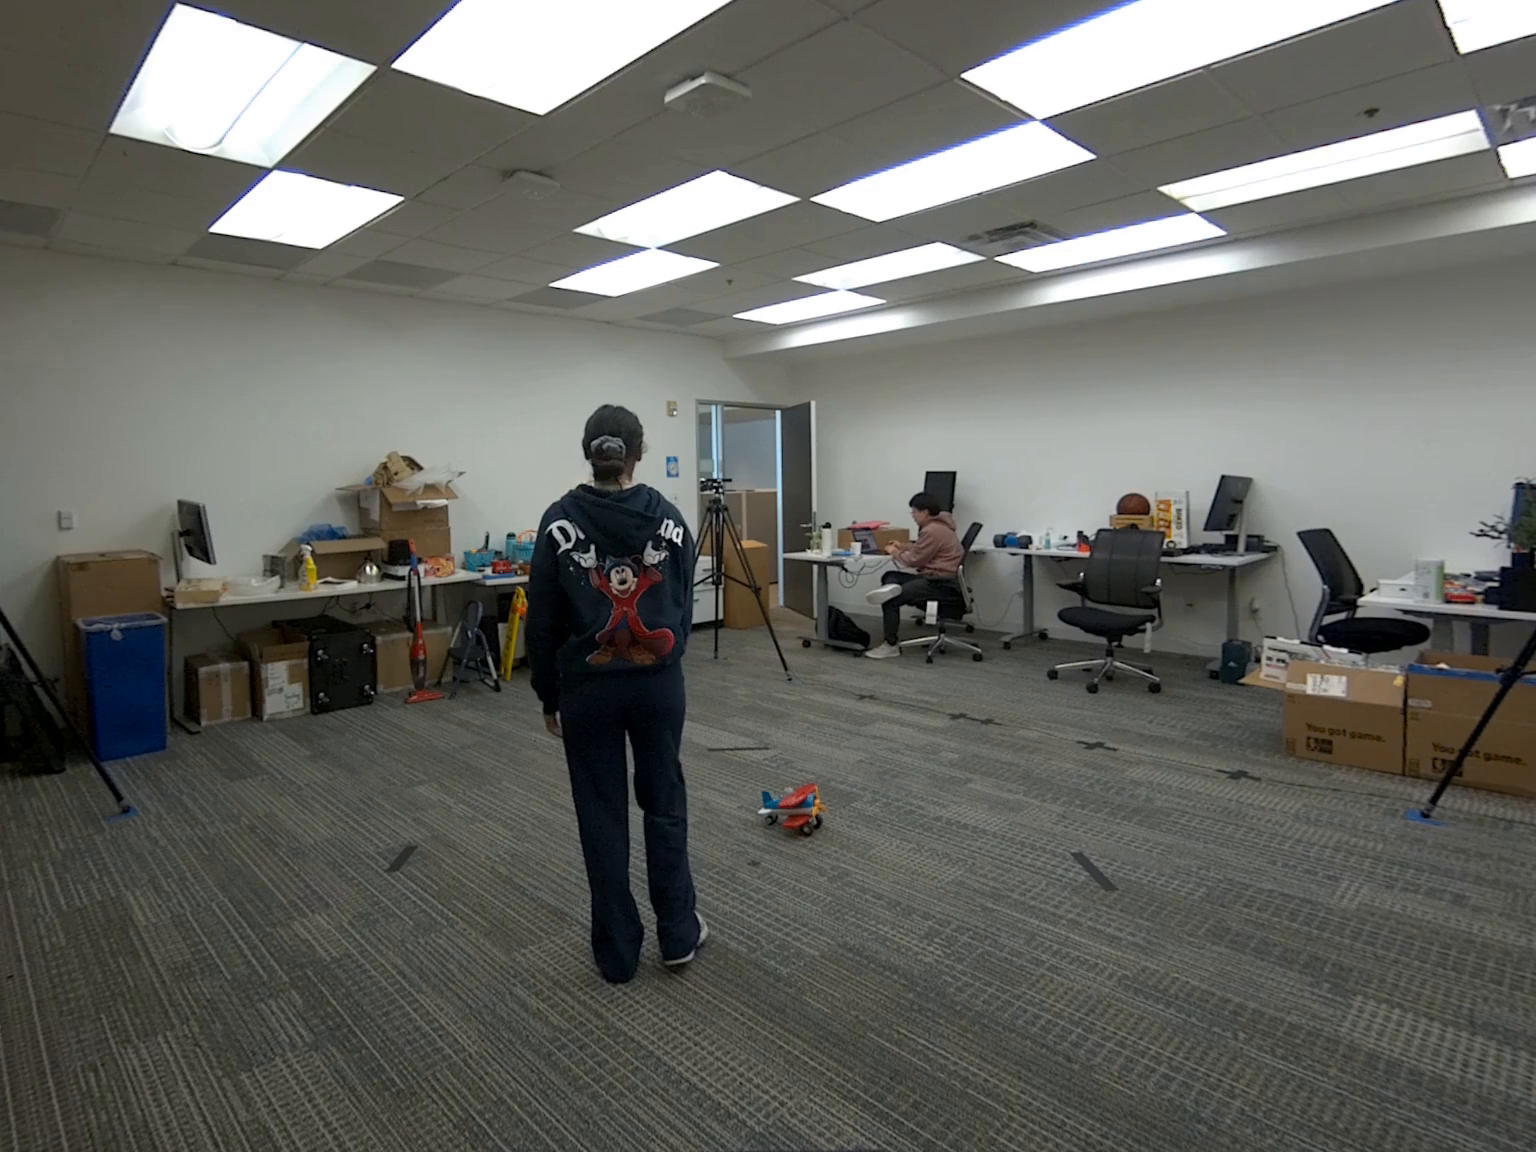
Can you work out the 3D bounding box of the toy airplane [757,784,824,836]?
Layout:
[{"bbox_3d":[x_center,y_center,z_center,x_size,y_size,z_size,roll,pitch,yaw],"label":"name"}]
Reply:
[{"bbox_3d":[0.094,0.933,3.401,0.259,0.156,0.252,-1,4,-1],"label":"toy airplane"}]
